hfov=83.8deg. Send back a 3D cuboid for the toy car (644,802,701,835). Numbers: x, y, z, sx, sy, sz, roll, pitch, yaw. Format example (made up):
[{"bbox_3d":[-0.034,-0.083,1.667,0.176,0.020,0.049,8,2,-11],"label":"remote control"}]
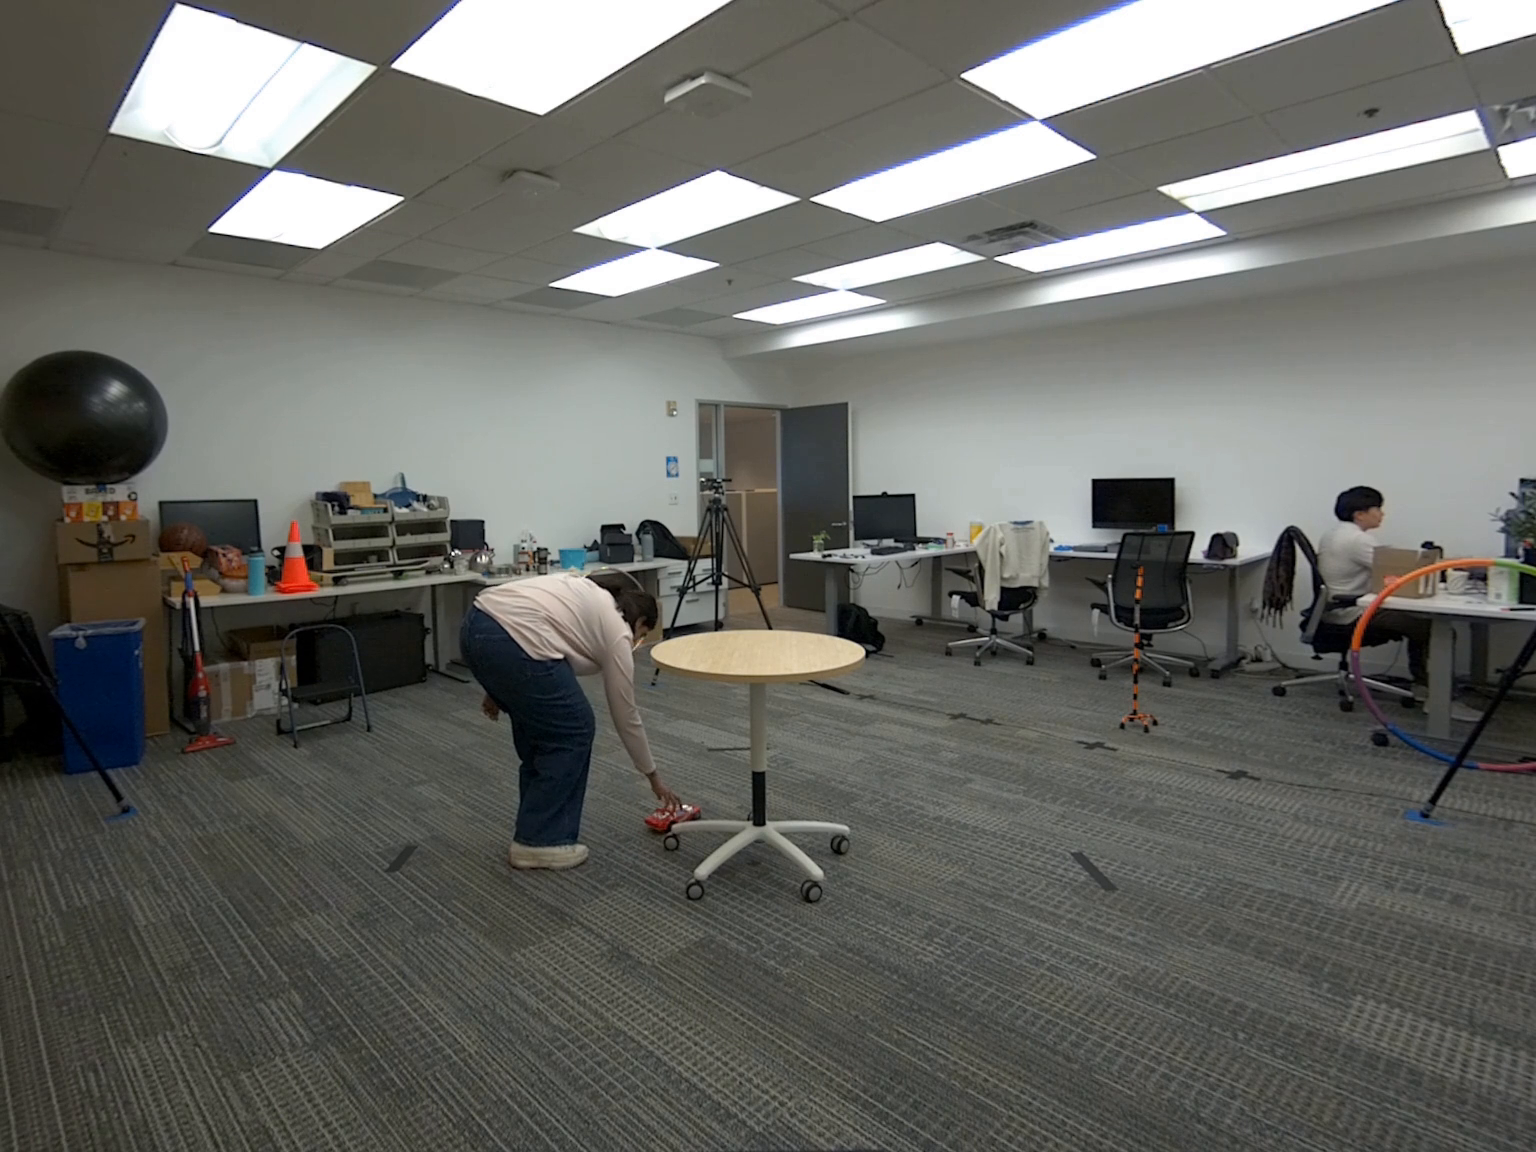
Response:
[{"bbox_3d":[-0.390,0.978,3.460,0.134,0.083,0.246,5,-2,42],"label":"toy car"}]
